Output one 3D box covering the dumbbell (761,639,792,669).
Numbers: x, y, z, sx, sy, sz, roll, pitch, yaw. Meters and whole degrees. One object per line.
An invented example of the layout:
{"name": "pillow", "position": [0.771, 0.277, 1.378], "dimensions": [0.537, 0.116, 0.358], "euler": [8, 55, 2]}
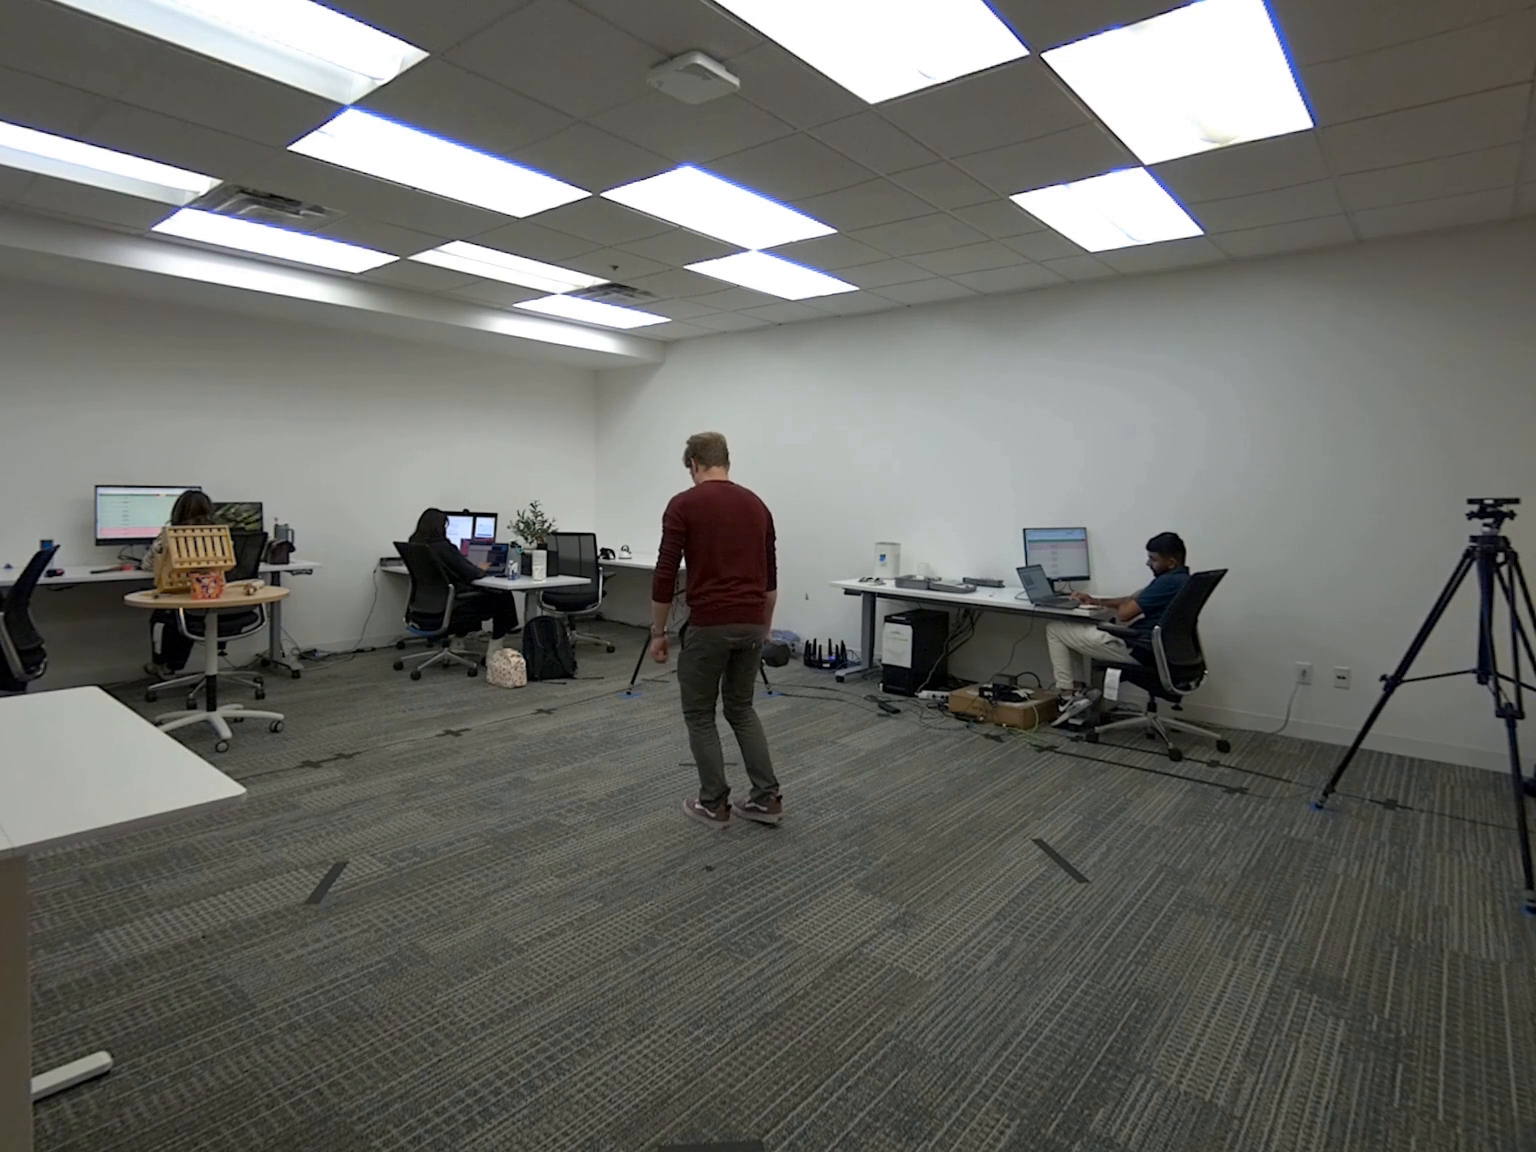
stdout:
{"name": "dumbbell", "position": [-0.042, 0.339, 3.762], "dimensions": [0.303, 0.119, 0.108], "euler": [3, 40, 50]}
